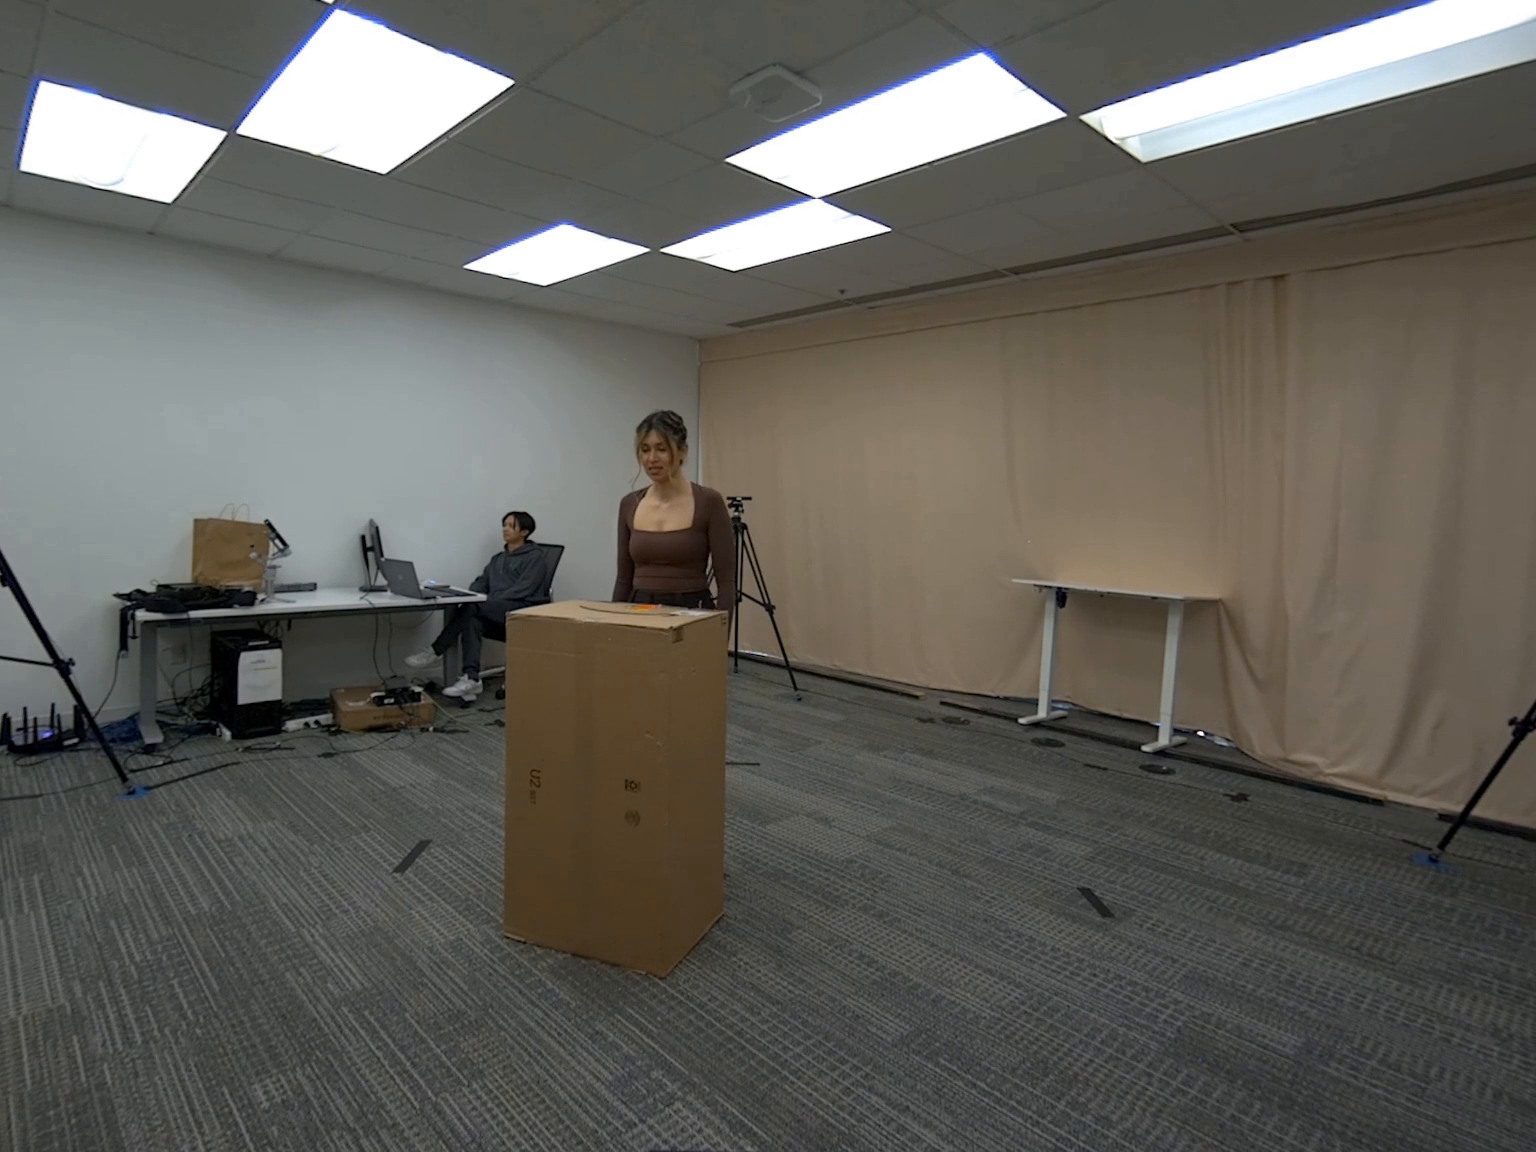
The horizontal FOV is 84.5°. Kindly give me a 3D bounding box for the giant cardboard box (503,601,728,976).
[{"bbox_3d":[-0.481,0.625,2.702,0.594,1.025,0.439,3,3,23],"label":"giant cardboard box"}]
